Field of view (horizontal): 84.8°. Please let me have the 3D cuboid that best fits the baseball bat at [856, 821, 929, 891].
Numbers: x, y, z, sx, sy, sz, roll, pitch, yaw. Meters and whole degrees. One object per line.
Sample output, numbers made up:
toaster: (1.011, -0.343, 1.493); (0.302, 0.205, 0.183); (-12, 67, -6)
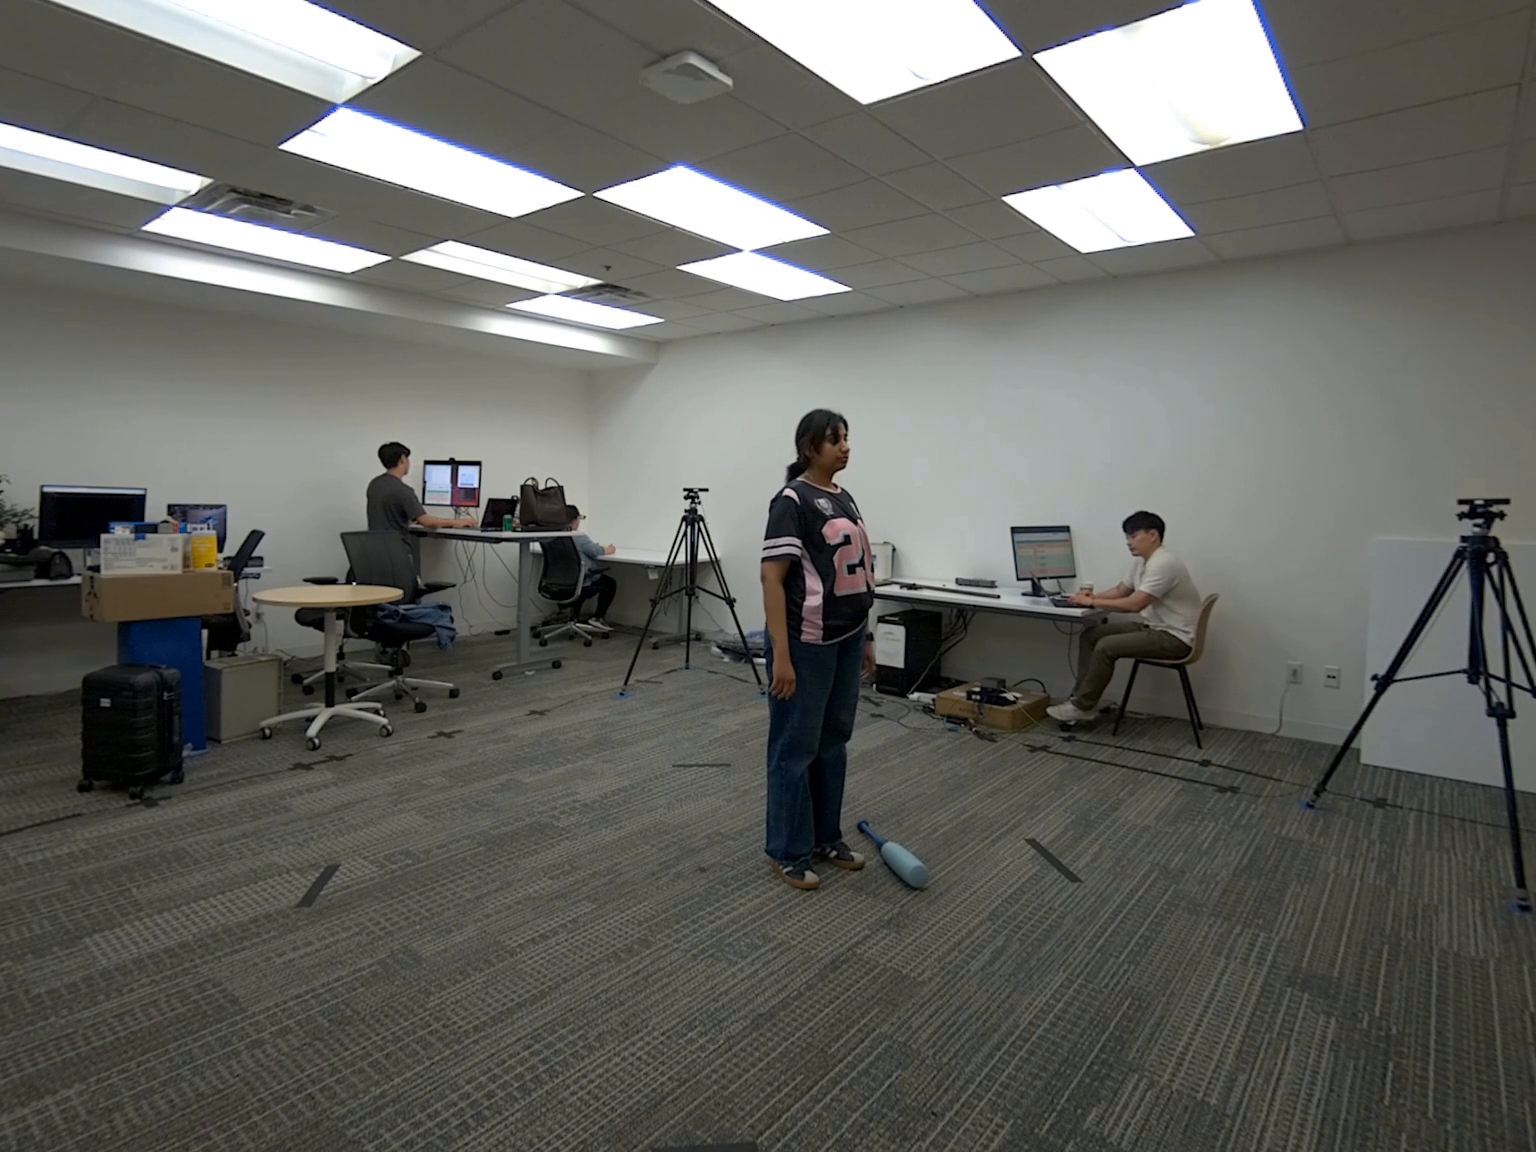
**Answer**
baseball bat: (0.460, 1.033, 3.235); (0.088, 0.089, 0.551); (0, 3, -15)
